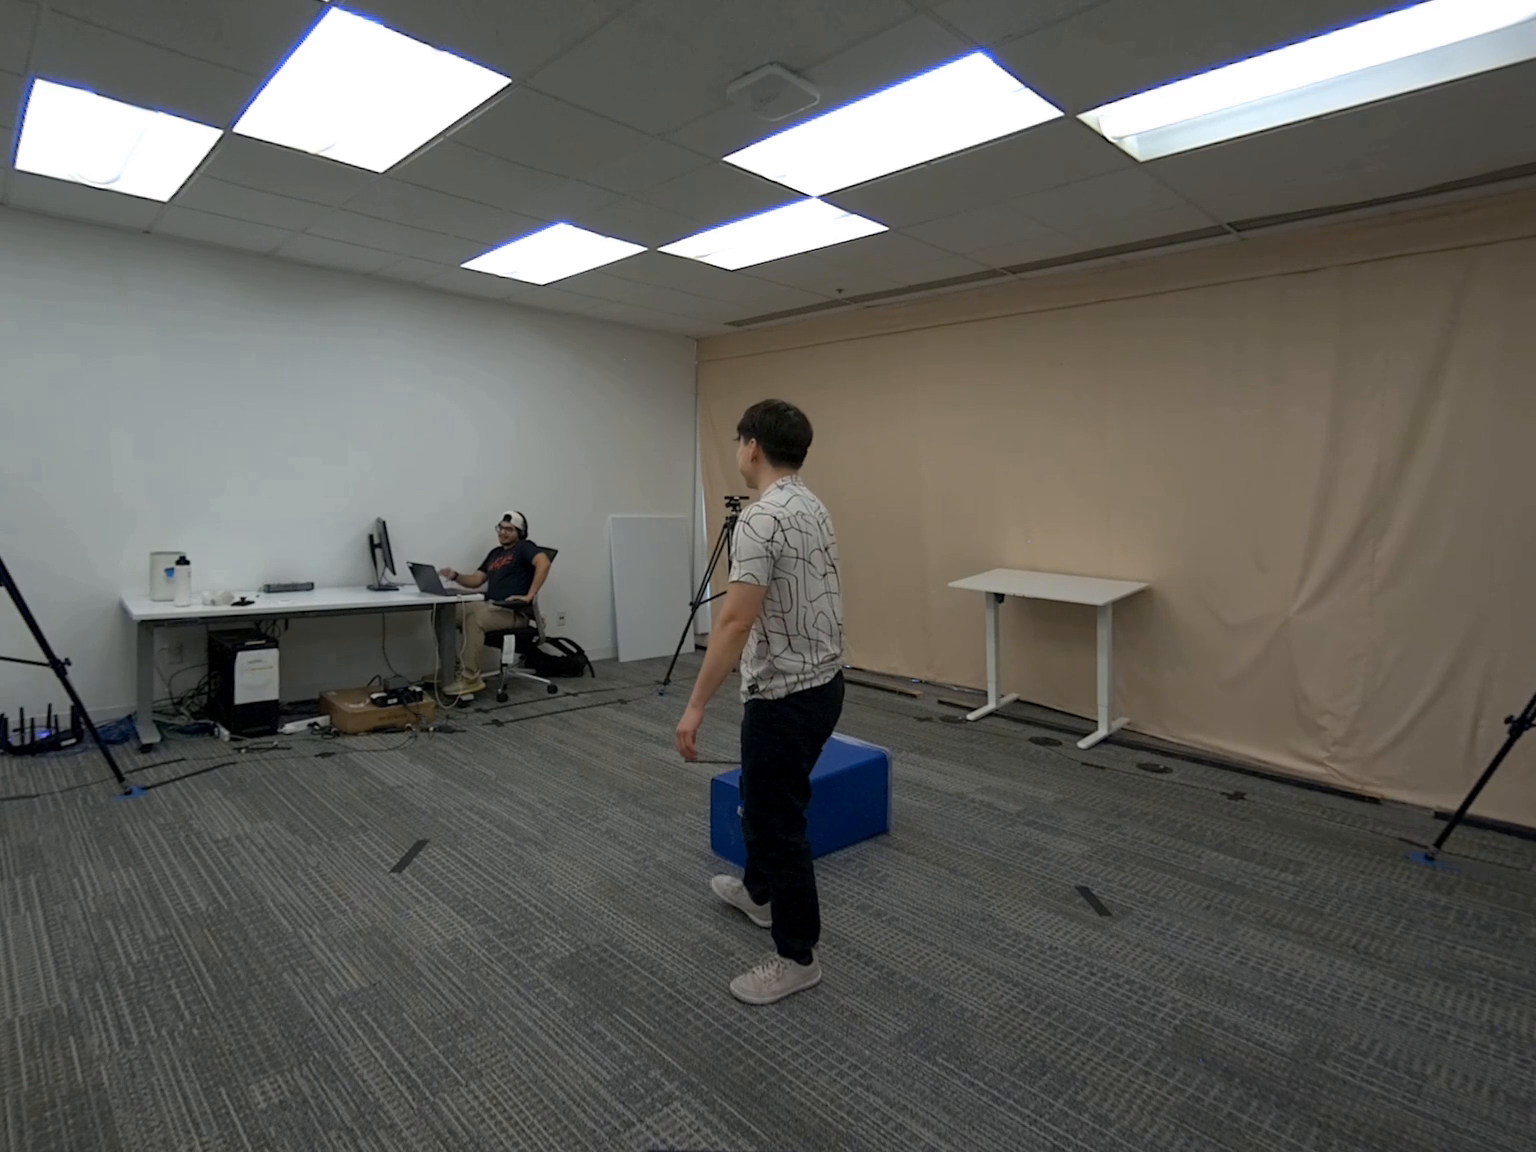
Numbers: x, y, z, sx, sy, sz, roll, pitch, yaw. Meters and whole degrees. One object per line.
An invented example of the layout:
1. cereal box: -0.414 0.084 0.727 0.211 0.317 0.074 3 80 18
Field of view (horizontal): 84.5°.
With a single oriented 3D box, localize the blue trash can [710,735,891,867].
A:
1. blue trash can: 0.123 0.910 3.412 0.698 0.377 0.384 -5 7 -41
